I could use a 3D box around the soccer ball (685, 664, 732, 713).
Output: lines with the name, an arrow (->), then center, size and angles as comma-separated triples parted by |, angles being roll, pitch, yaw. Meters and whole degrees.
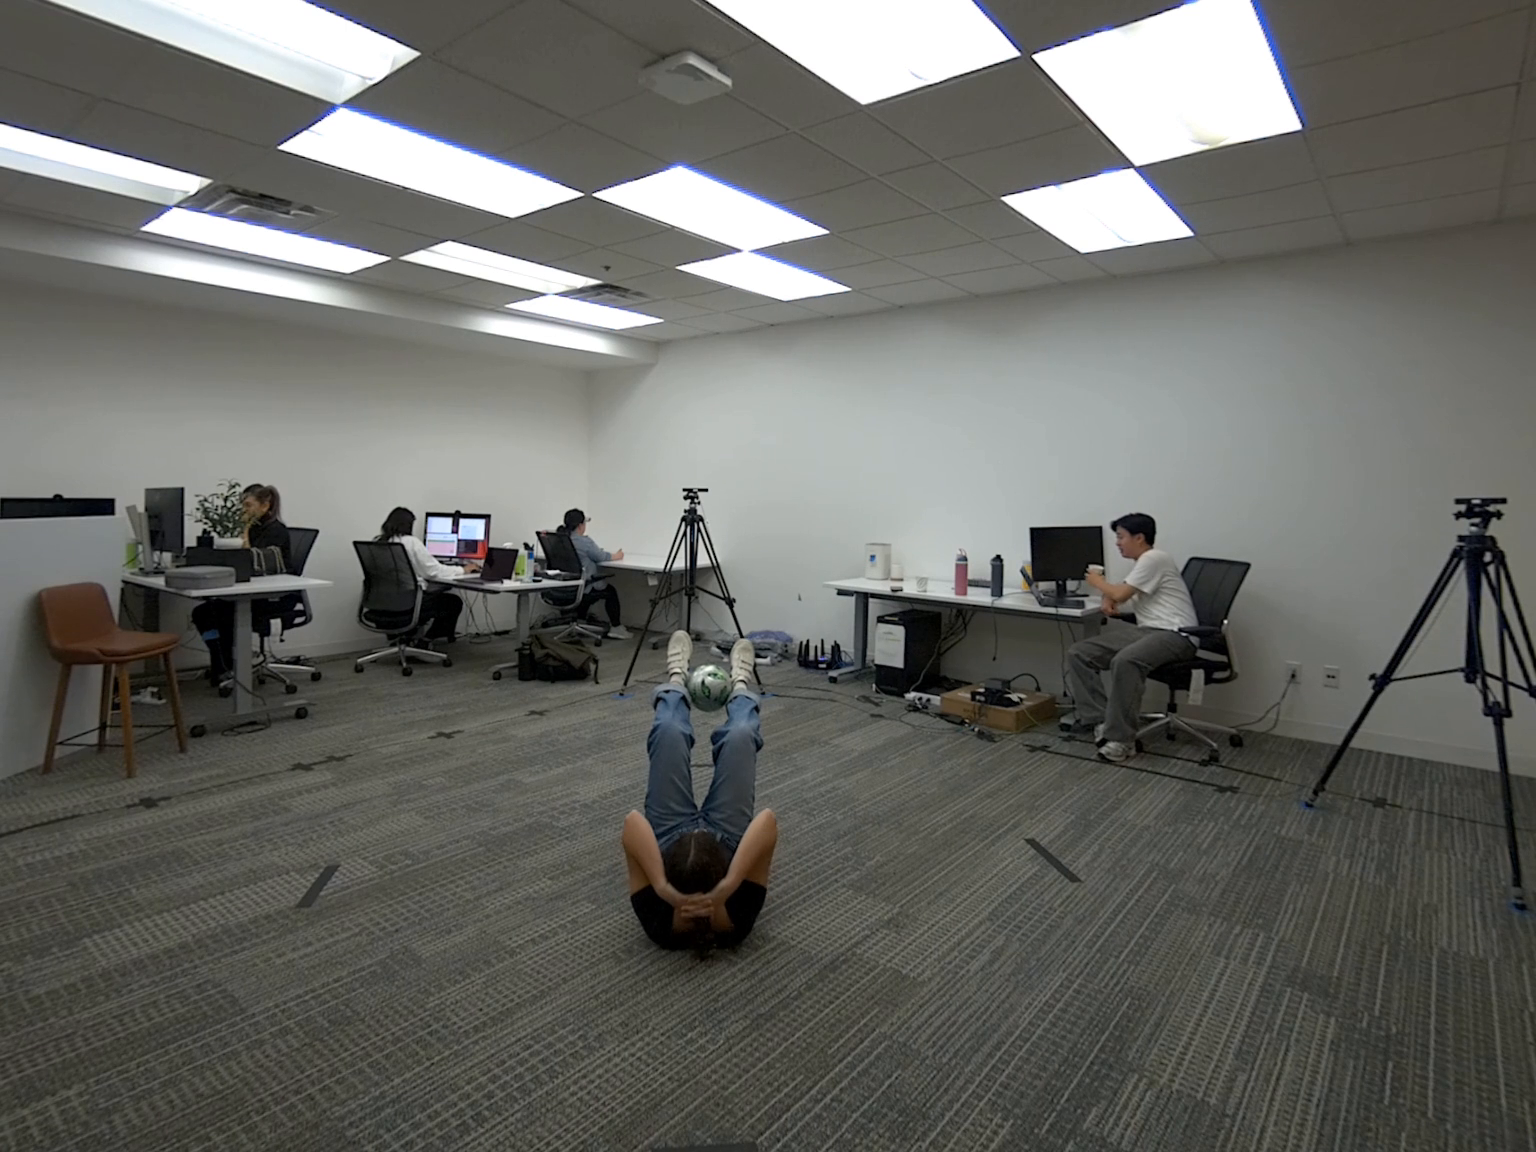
soccer ball -> -0.237, 0.439, 3.384 | 0.187, 0.187, 0.188 | -3, 4, -2
